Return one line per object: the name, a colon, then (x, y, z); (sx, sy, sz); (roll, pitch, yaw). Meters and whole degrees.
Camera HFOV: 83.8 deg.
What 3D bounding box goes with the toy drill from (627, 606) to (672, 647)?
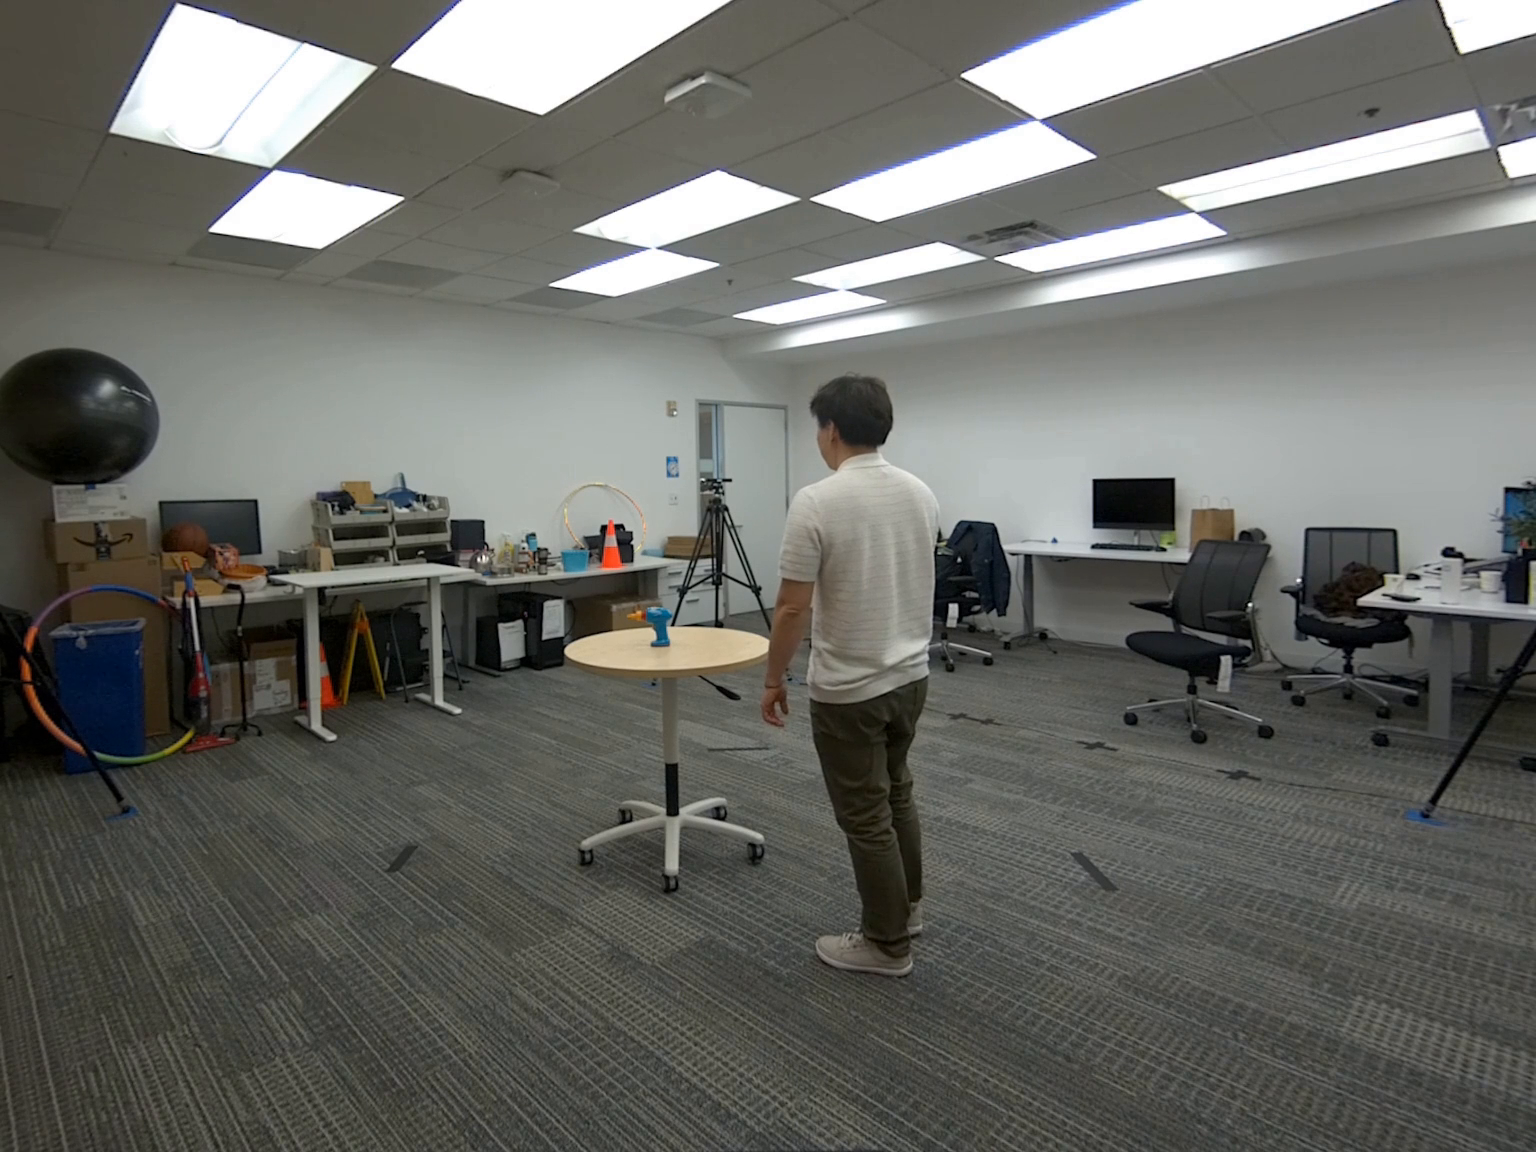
toy drill: (-0.435, 0.187, 3.167); (0.169, 0.145, 0.061); (-1, 5, -2)
